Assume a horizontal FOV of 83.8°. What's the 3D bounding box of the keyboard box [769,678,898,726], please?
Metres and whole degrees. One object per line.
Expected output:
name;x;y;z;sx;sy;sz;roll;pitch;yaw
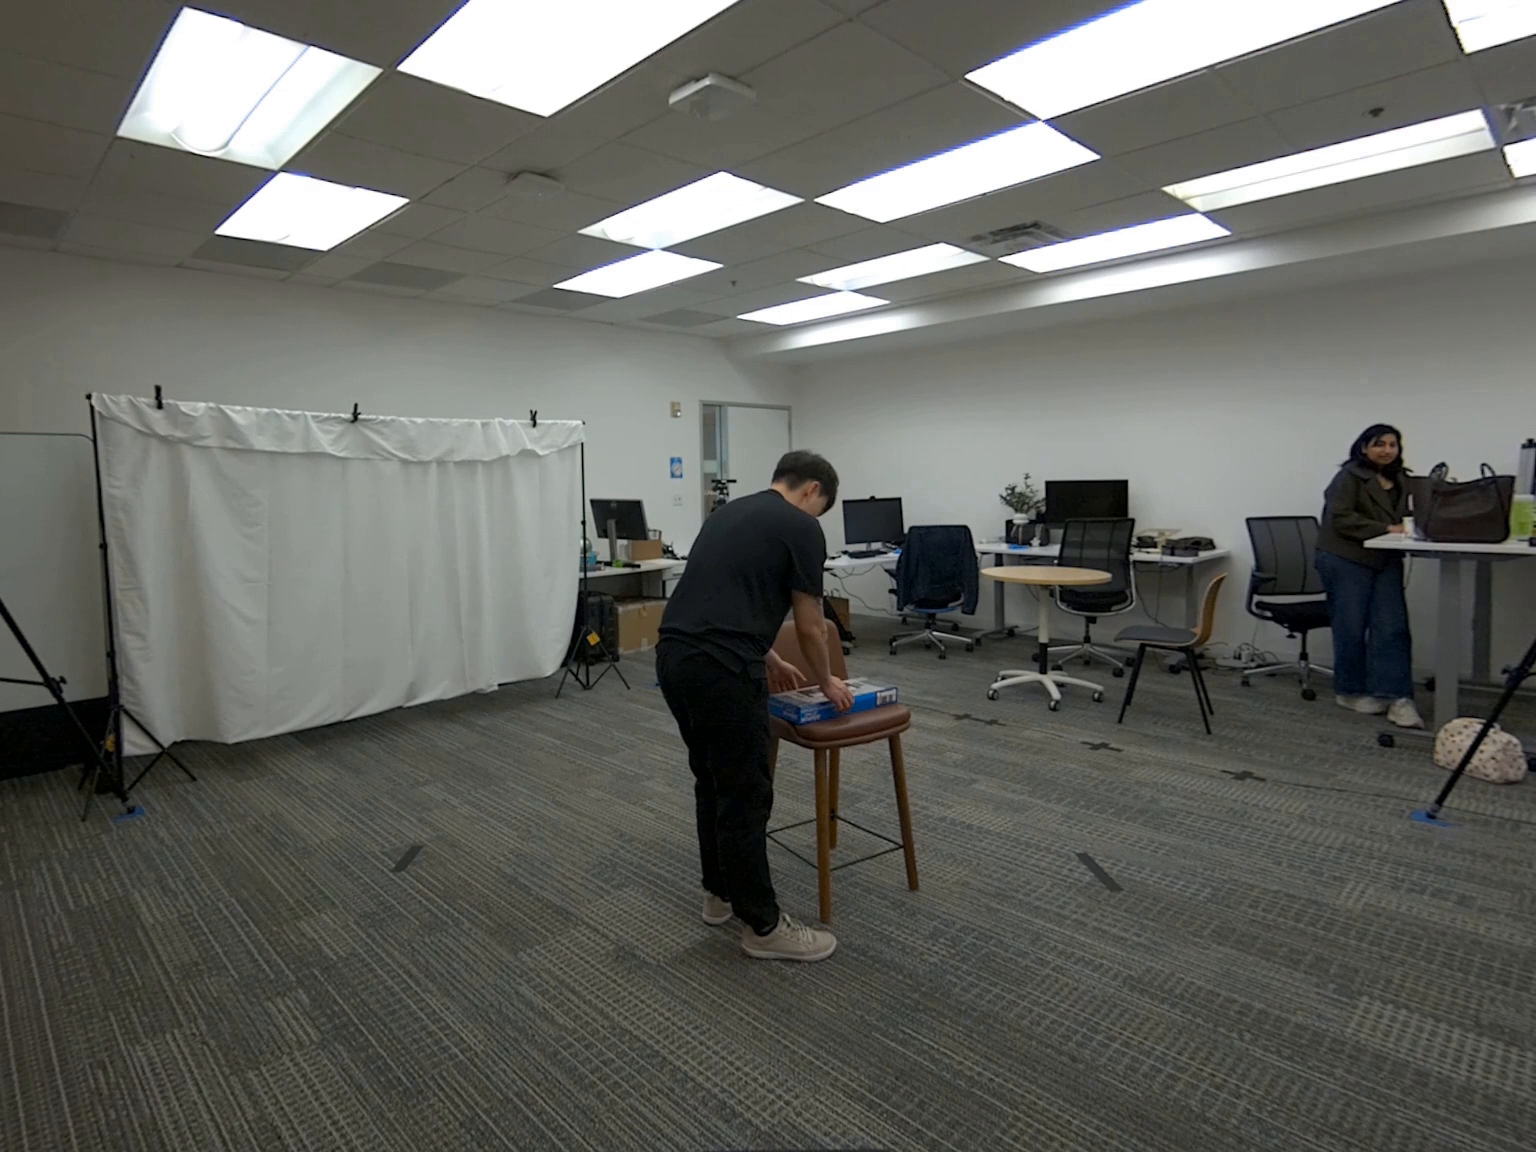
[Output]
keyboard box;0.227;0.425;2.895;0.426;0.059;0.181;-4;7;-32
